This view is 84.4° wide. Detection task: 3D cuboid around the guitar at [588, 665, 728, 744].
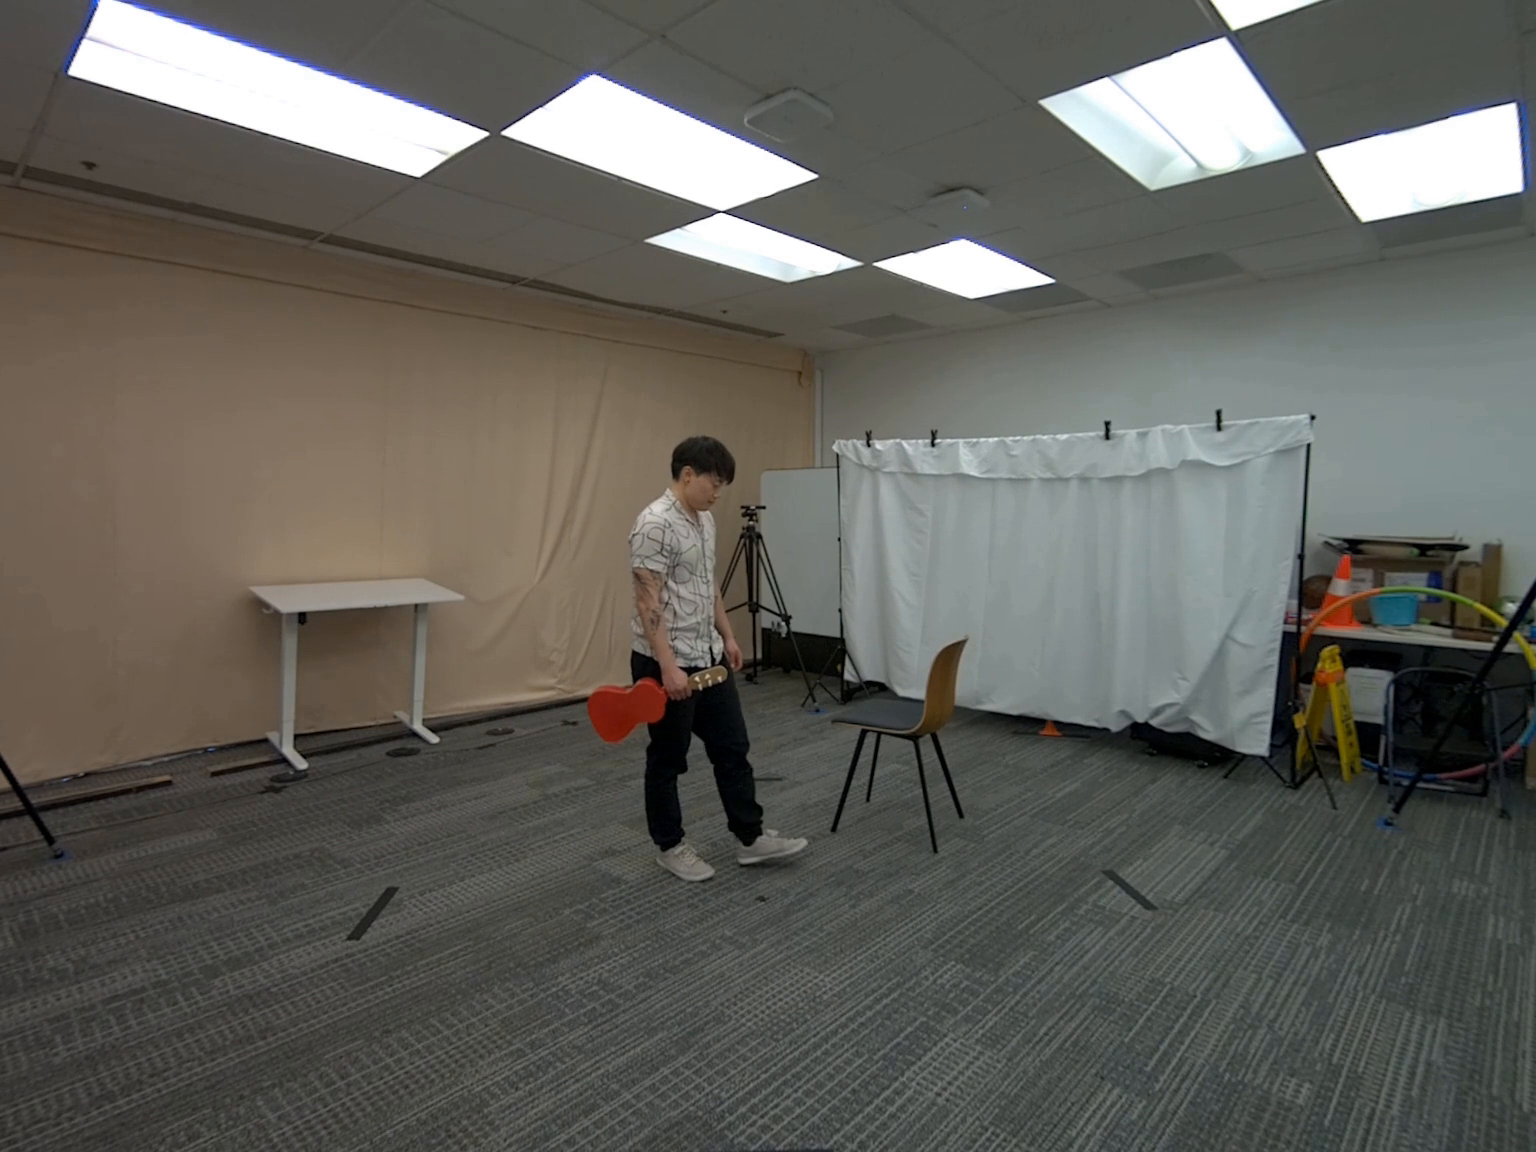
[{"bbox_3d":[-0.396,0.399,2.944,0.501,0.192,0.071,-28,6,9],"label":"guitar"}]
